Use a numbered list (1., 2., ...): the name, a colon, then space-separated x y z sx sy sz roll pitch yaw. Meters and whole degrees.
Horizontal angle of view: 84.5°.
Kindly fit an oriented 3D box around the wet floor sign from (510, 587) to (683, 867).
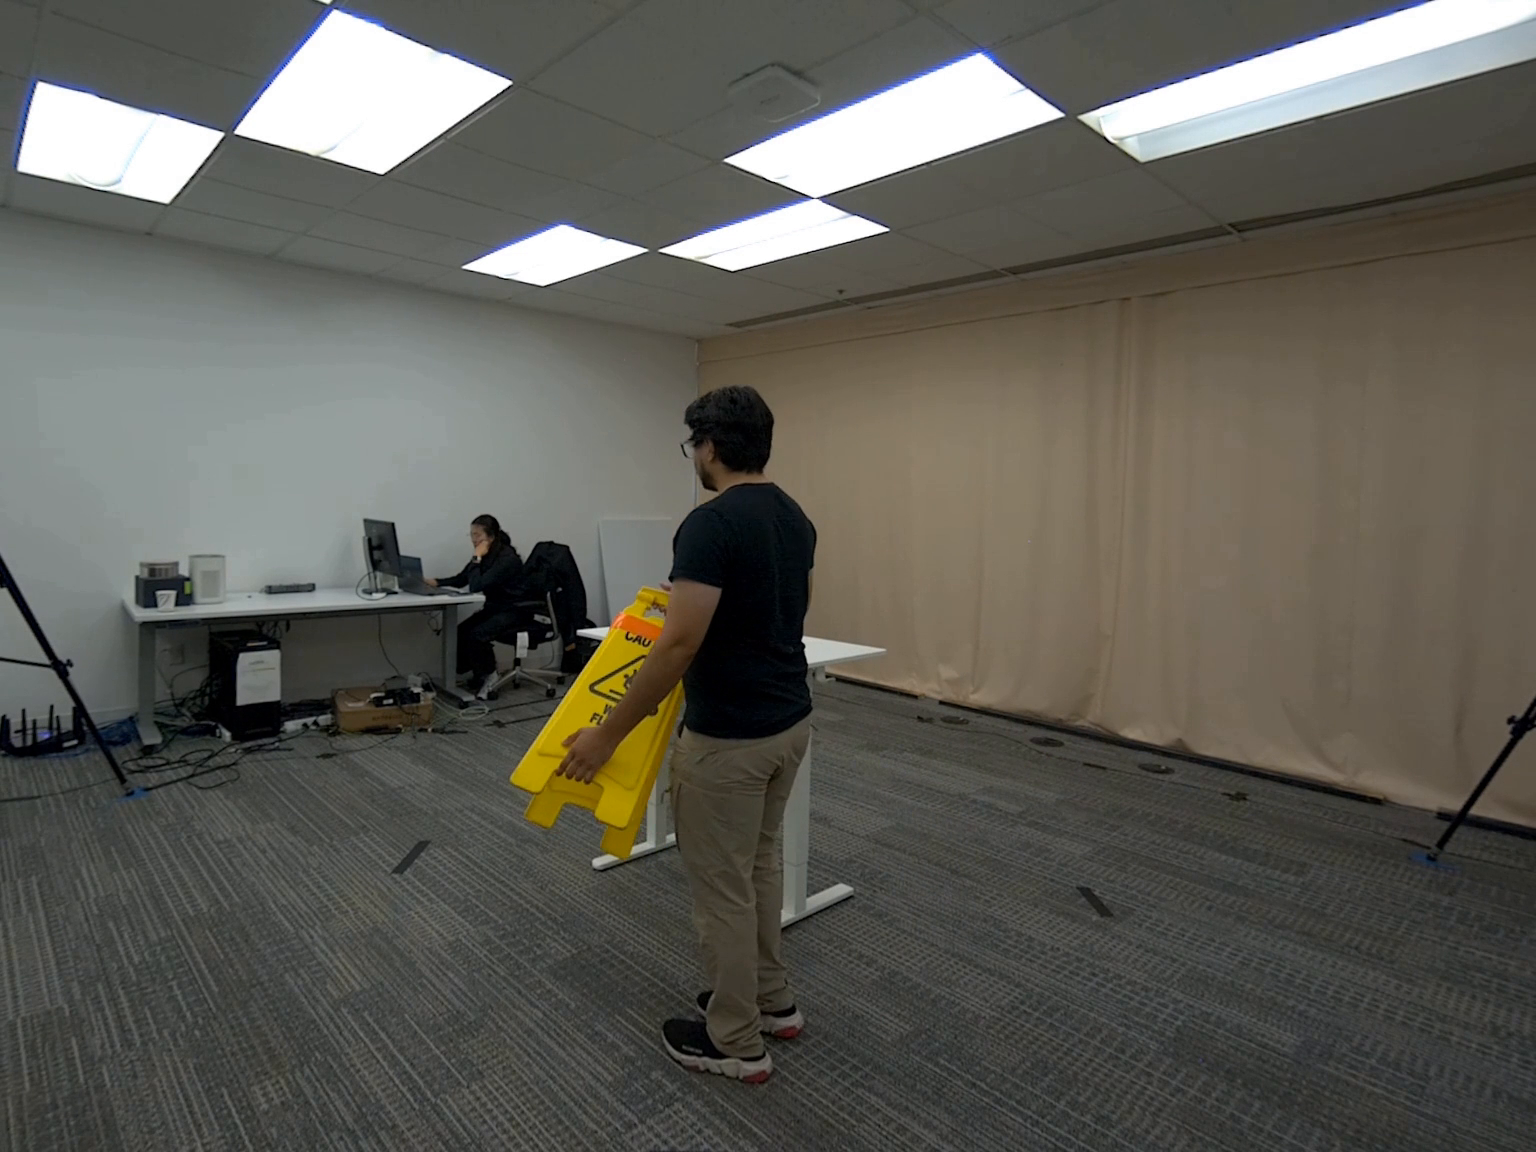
1. wet floor sign: -0.350 0.318 2.115 0.284 0.653 0.285 19 -34 5
